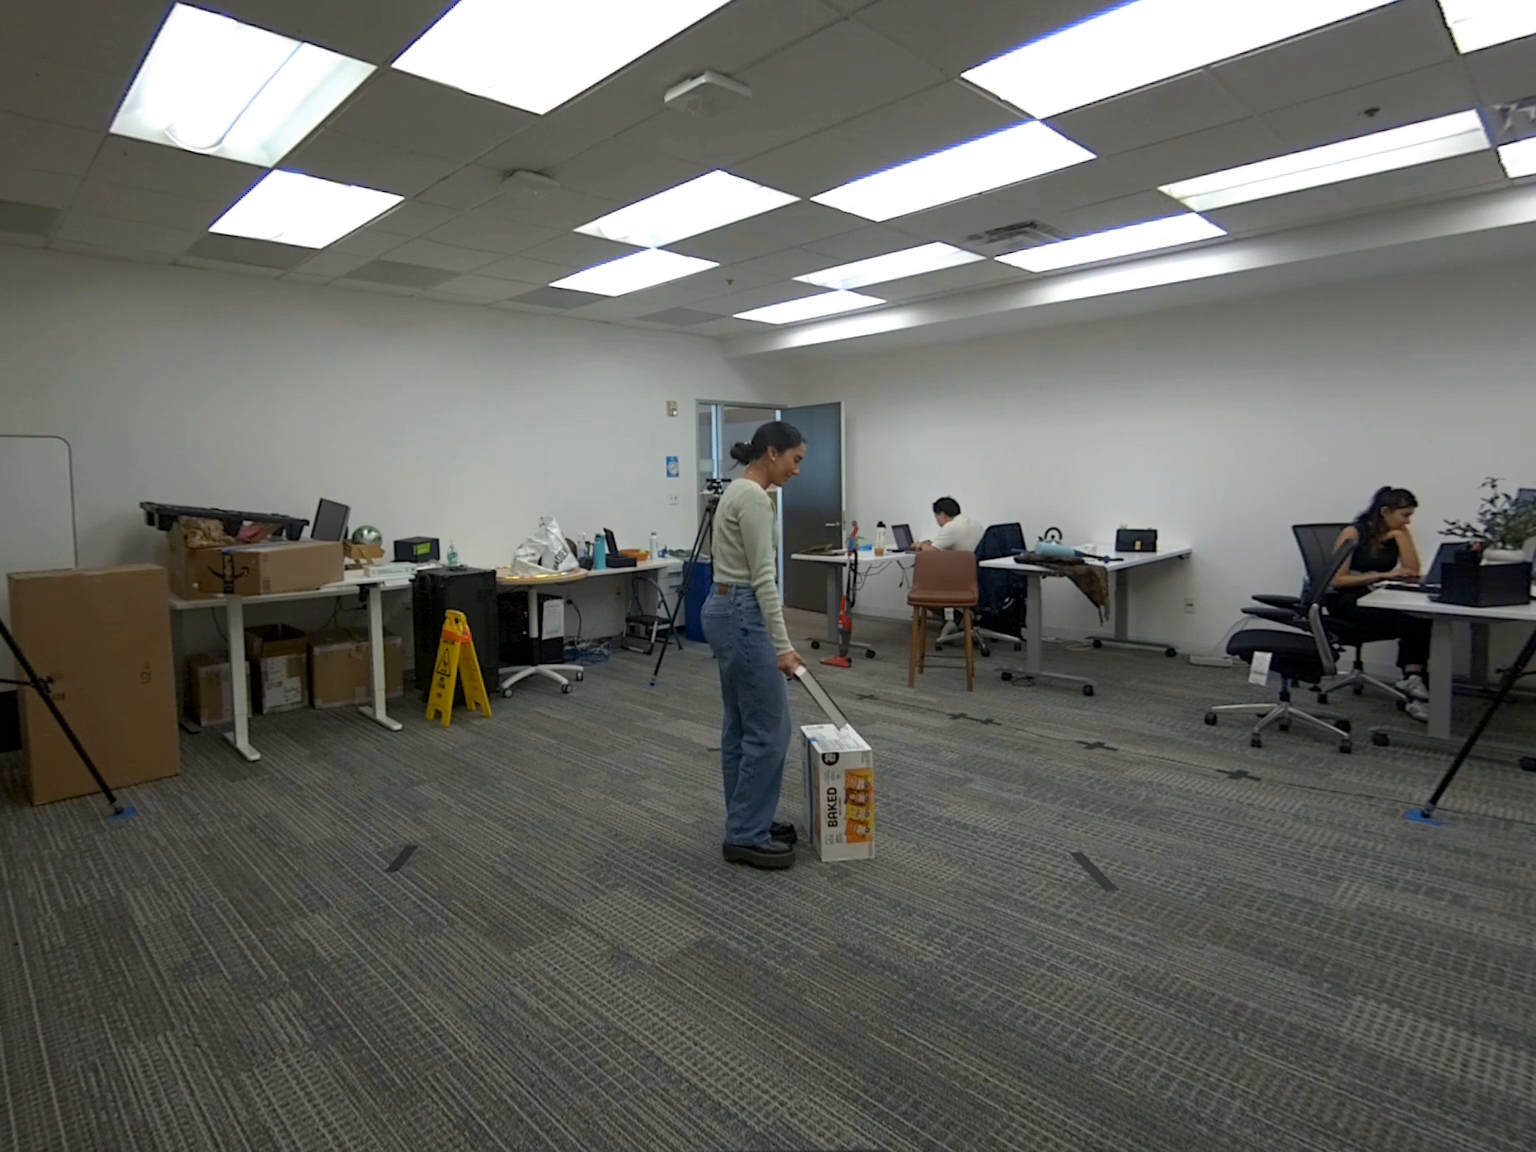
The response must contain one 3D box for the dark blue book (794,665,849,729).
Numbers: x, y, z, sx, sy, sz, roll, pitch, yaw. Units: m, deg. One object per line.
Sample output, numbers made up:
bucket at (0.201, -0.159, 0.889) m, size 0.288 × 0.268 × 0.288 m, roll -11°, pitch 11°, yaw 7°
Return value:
dark blue book at (0.175, 0.411, 2.963) m, size 0.045 × 0.243 × 0.165 m, roll -37°, pitch 7°, yaw -5°
